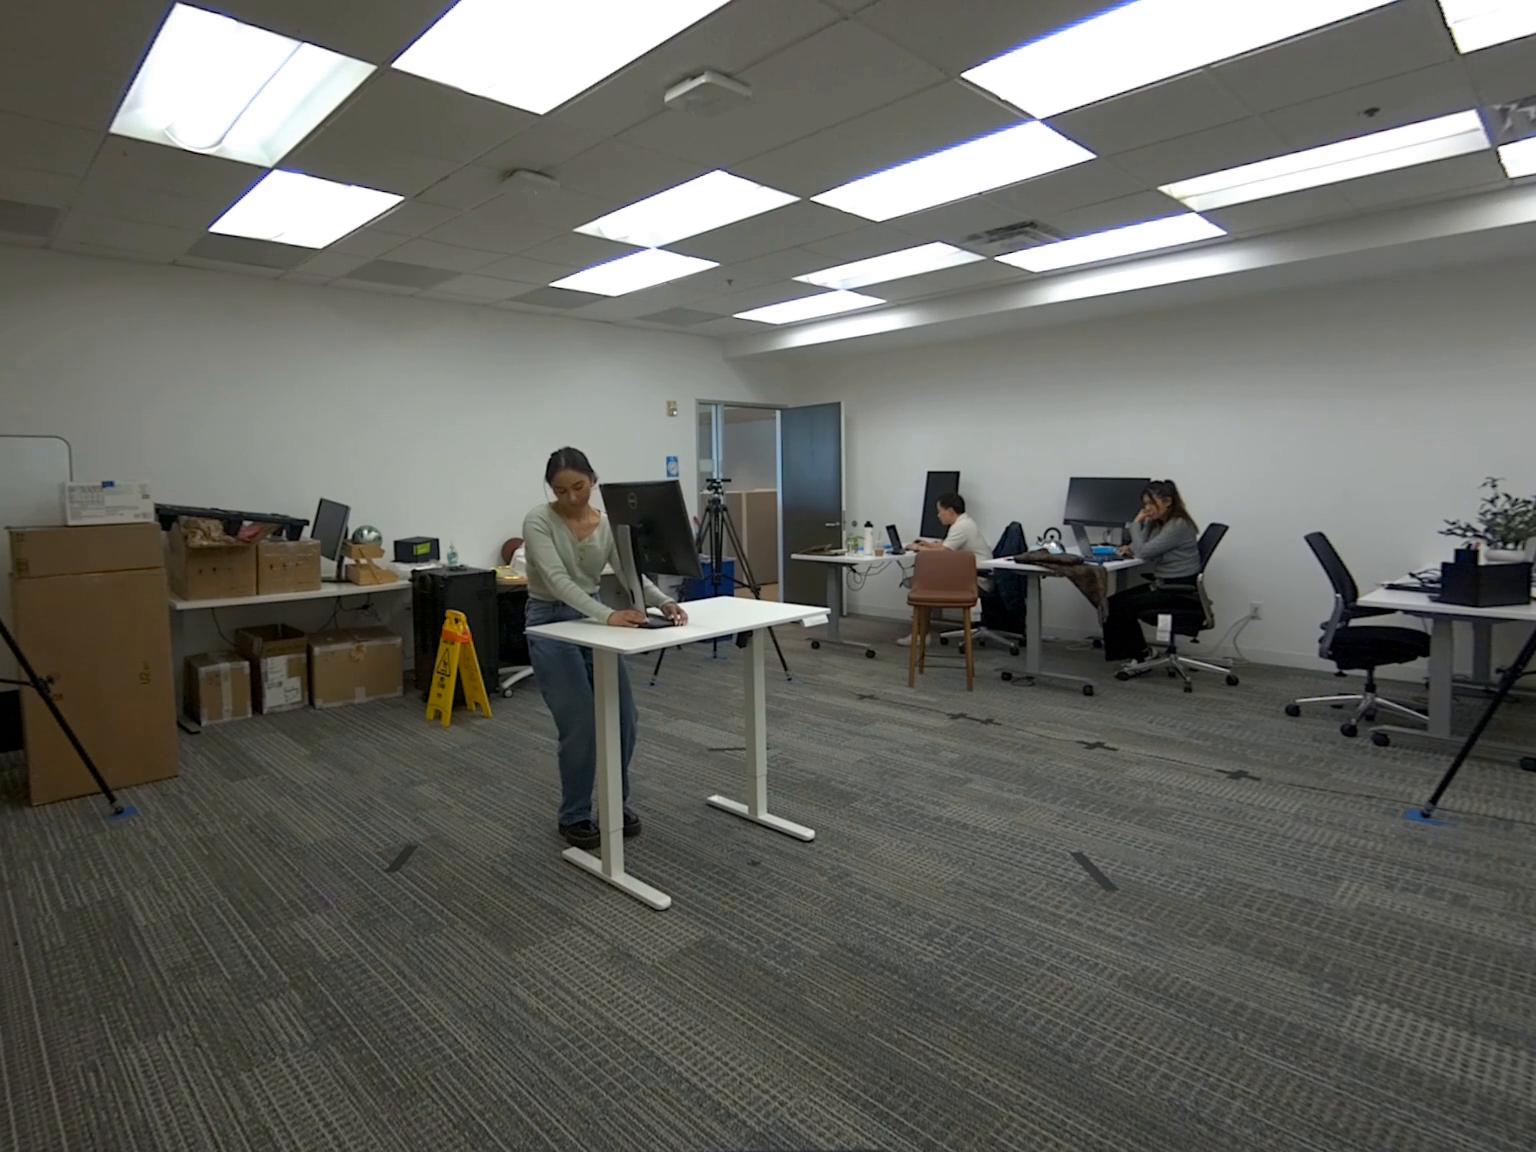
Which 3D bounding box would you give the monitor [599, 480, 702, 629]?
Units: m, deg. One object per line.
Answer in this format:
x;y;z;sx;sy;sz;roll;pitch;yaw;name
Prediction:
-0.445;-0.088;3.088;0.170;0.515;0.545;-2;2;-40;monitor
